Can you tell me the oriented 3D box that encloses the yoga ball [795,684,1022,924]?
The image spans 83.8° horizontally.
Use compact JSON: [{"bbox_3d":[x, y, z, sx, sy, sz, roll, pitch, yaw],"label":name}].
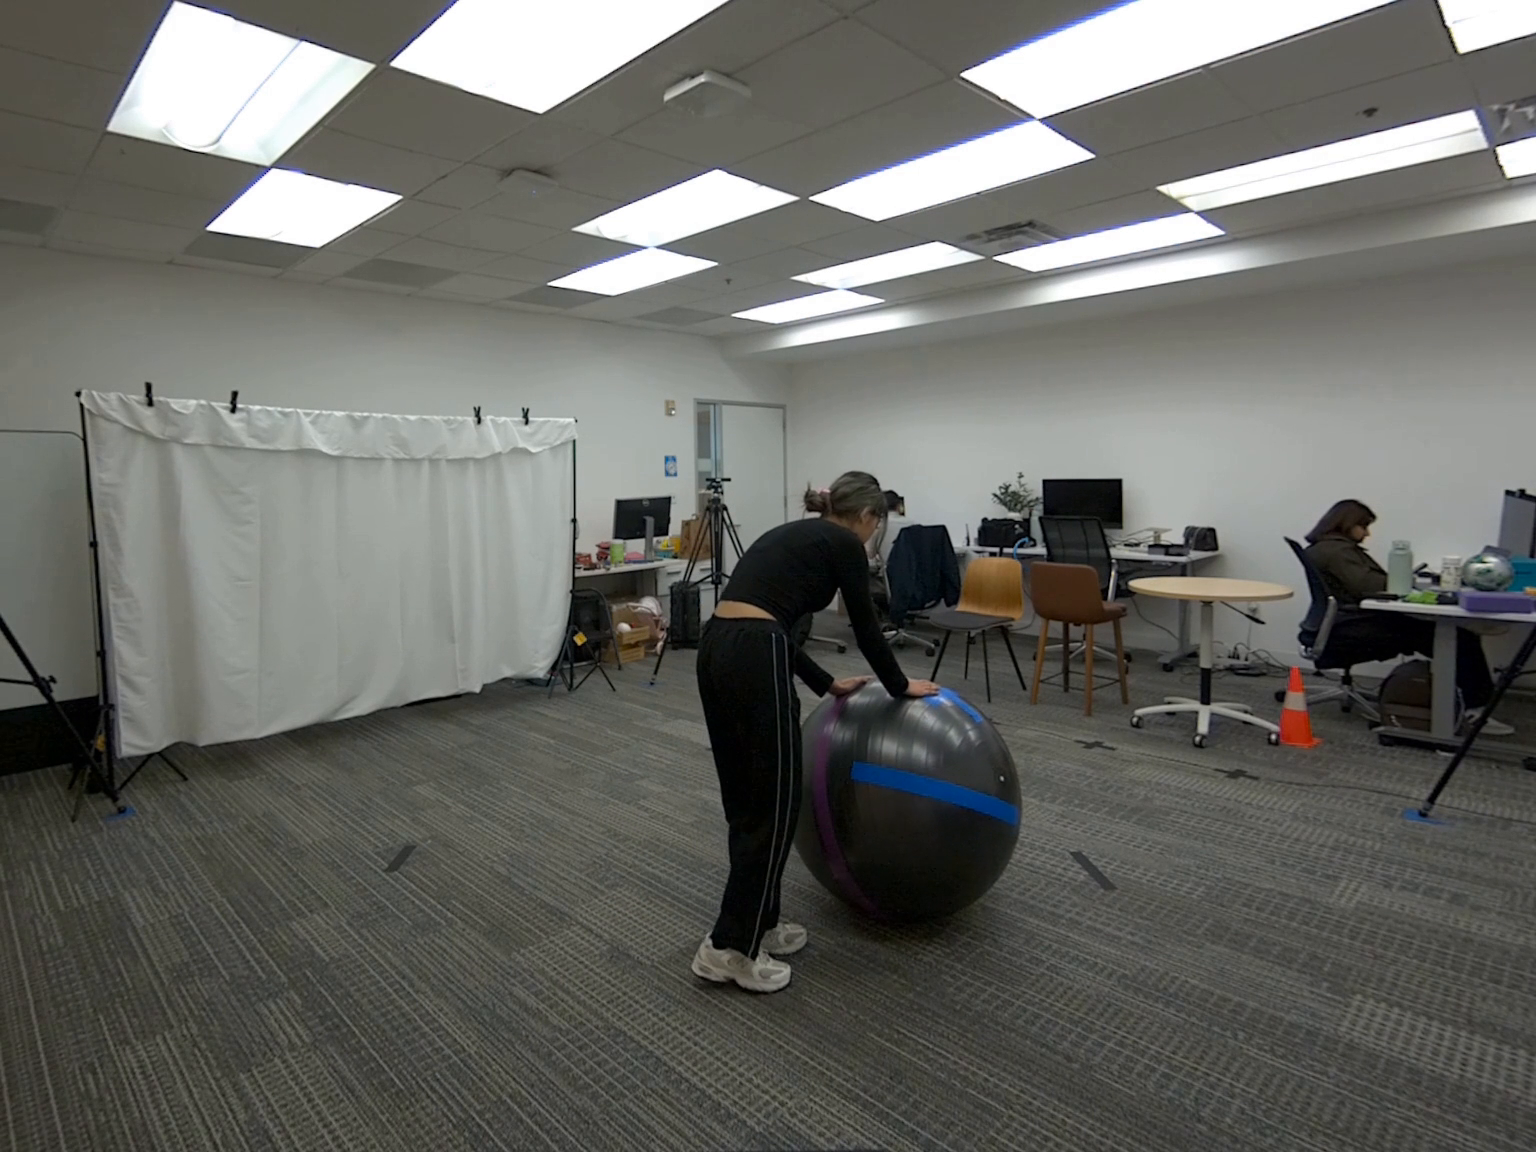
[{"bbox_3d":[0.428,0.712,2.779,0.757,0.755,0.762,-1,5,-2],"label":"yoga ball"}]
